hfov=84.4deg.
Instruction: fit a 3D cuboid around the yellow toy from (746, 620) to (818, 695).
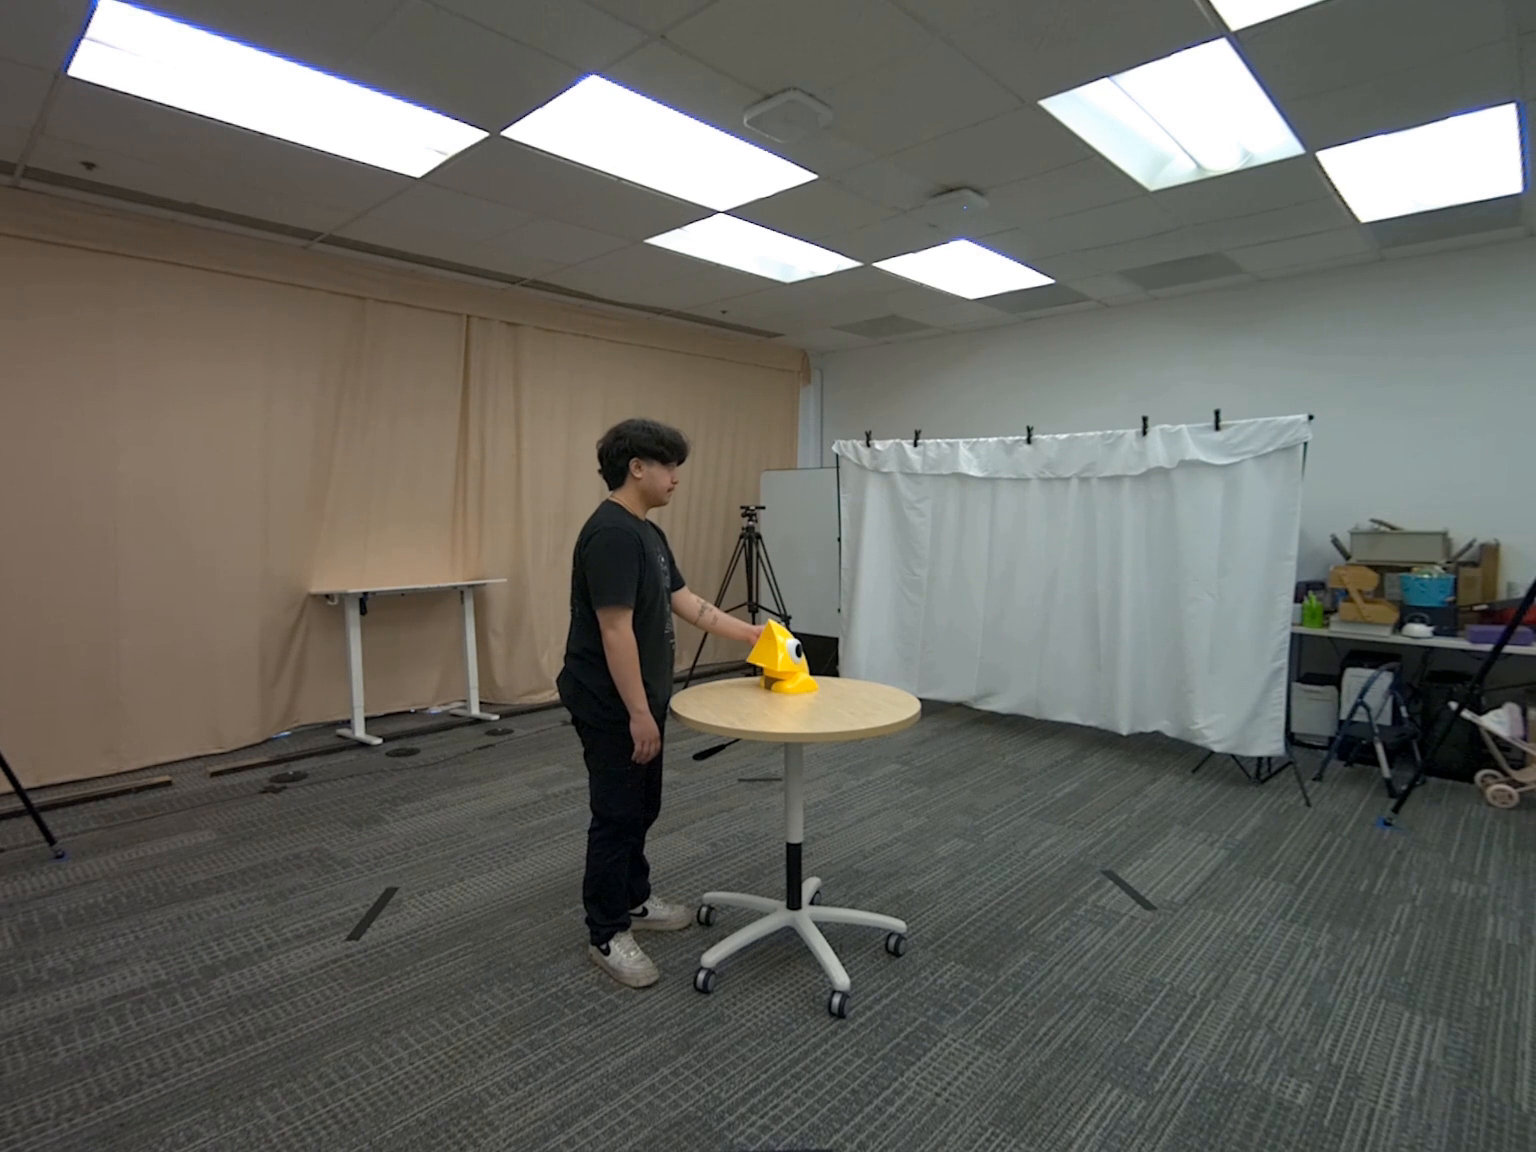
[{"bbox_3d":[0.058,0.258,2.775,0.188,0.230,0.210,-2,3,-30],"label":"yellow toy"}]
